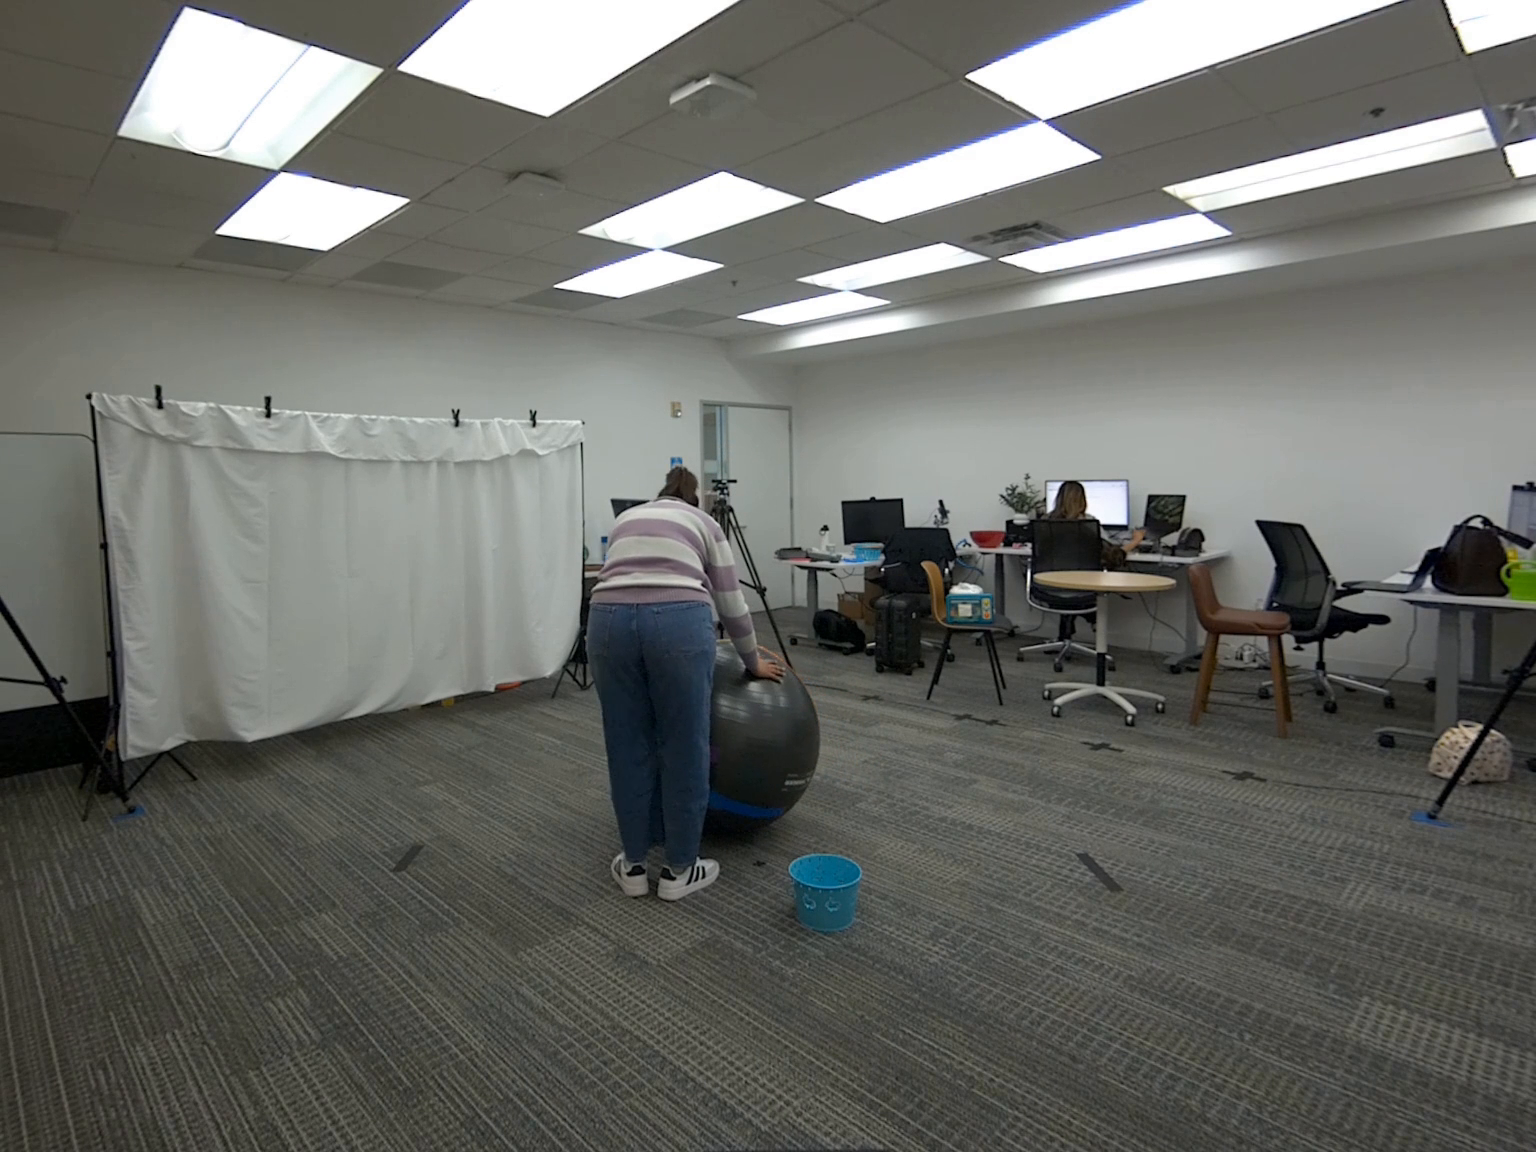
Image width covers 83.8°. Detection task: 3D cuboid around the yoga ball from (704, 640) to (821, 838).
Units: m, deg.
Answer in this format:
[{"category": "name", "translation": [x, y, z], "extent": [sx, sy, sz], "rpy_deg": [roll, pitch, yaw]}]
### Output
[{"category": "yoga ball", "translation": [-0.170, 0.642, 3.430], "extent": [0.757, 0.755, 0.762], "rpy_deg": [-1, 5, -2]}]
